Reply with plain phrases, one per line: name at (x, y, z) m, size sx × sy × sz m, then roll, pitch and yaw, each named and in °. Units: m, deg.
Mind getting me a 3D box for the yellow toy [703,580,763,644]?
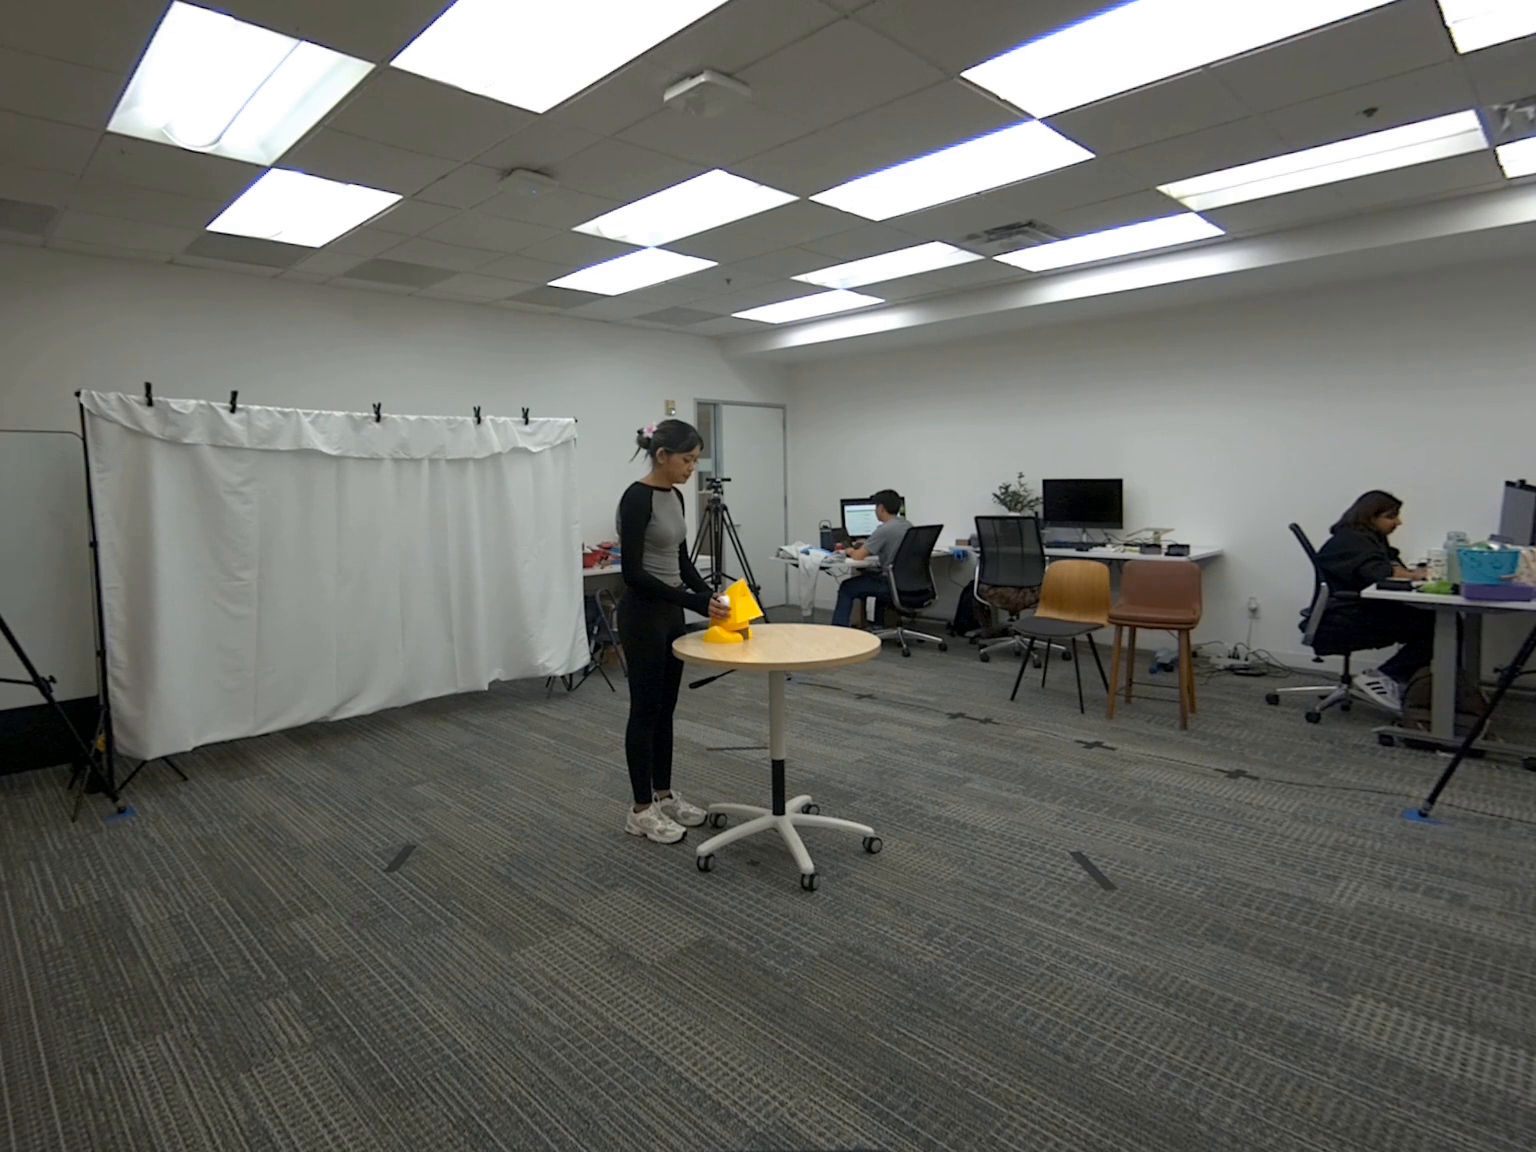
yellow toy at (-0.145, 0.123, 3.231) m, size 0.198 × 0.230 × 0.200 m, roll 0°, pitch 5°, yaw 31°
